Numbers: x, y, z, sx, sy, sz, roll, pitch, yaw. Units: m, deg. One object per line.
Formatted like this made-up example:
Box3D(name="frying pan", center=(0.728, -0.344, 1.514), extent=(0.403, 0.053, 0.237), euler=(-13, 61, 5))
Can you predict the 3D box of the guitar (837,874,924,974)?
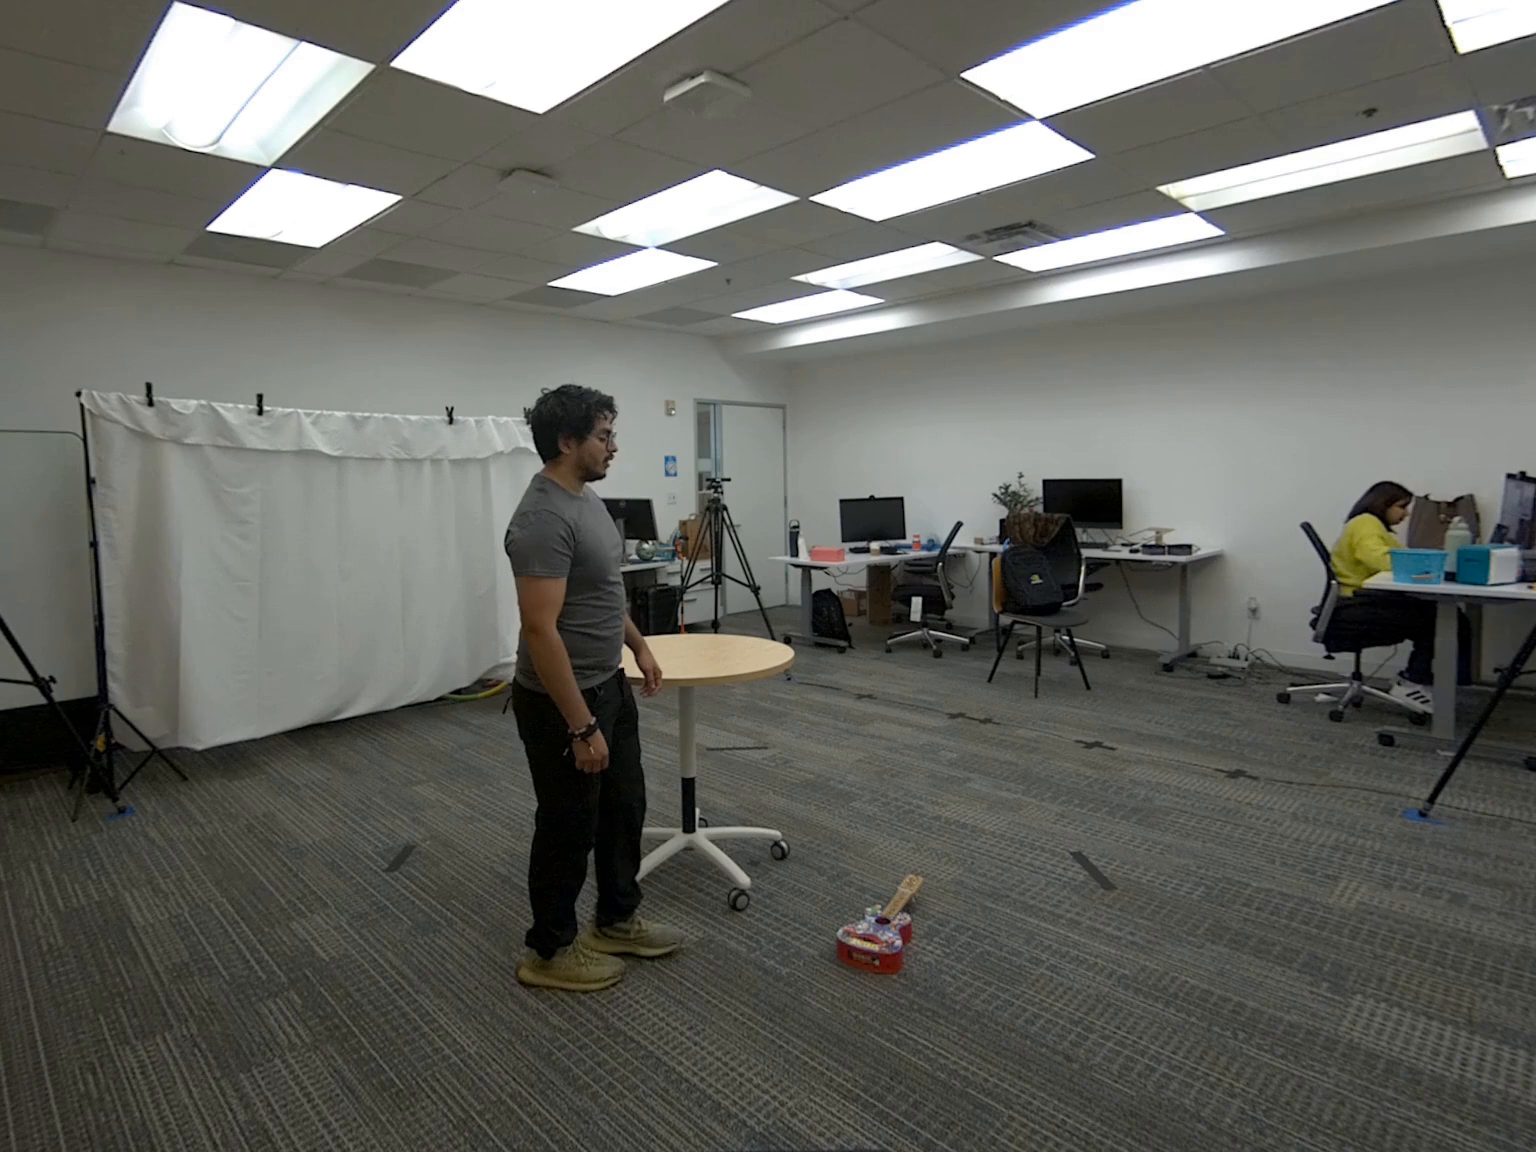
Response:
Box3D(name="guitar", center=(0.411, 1.057, 2.619), extent=(0.199, 0.070, 0.486), euler=(4, 9, 37))
